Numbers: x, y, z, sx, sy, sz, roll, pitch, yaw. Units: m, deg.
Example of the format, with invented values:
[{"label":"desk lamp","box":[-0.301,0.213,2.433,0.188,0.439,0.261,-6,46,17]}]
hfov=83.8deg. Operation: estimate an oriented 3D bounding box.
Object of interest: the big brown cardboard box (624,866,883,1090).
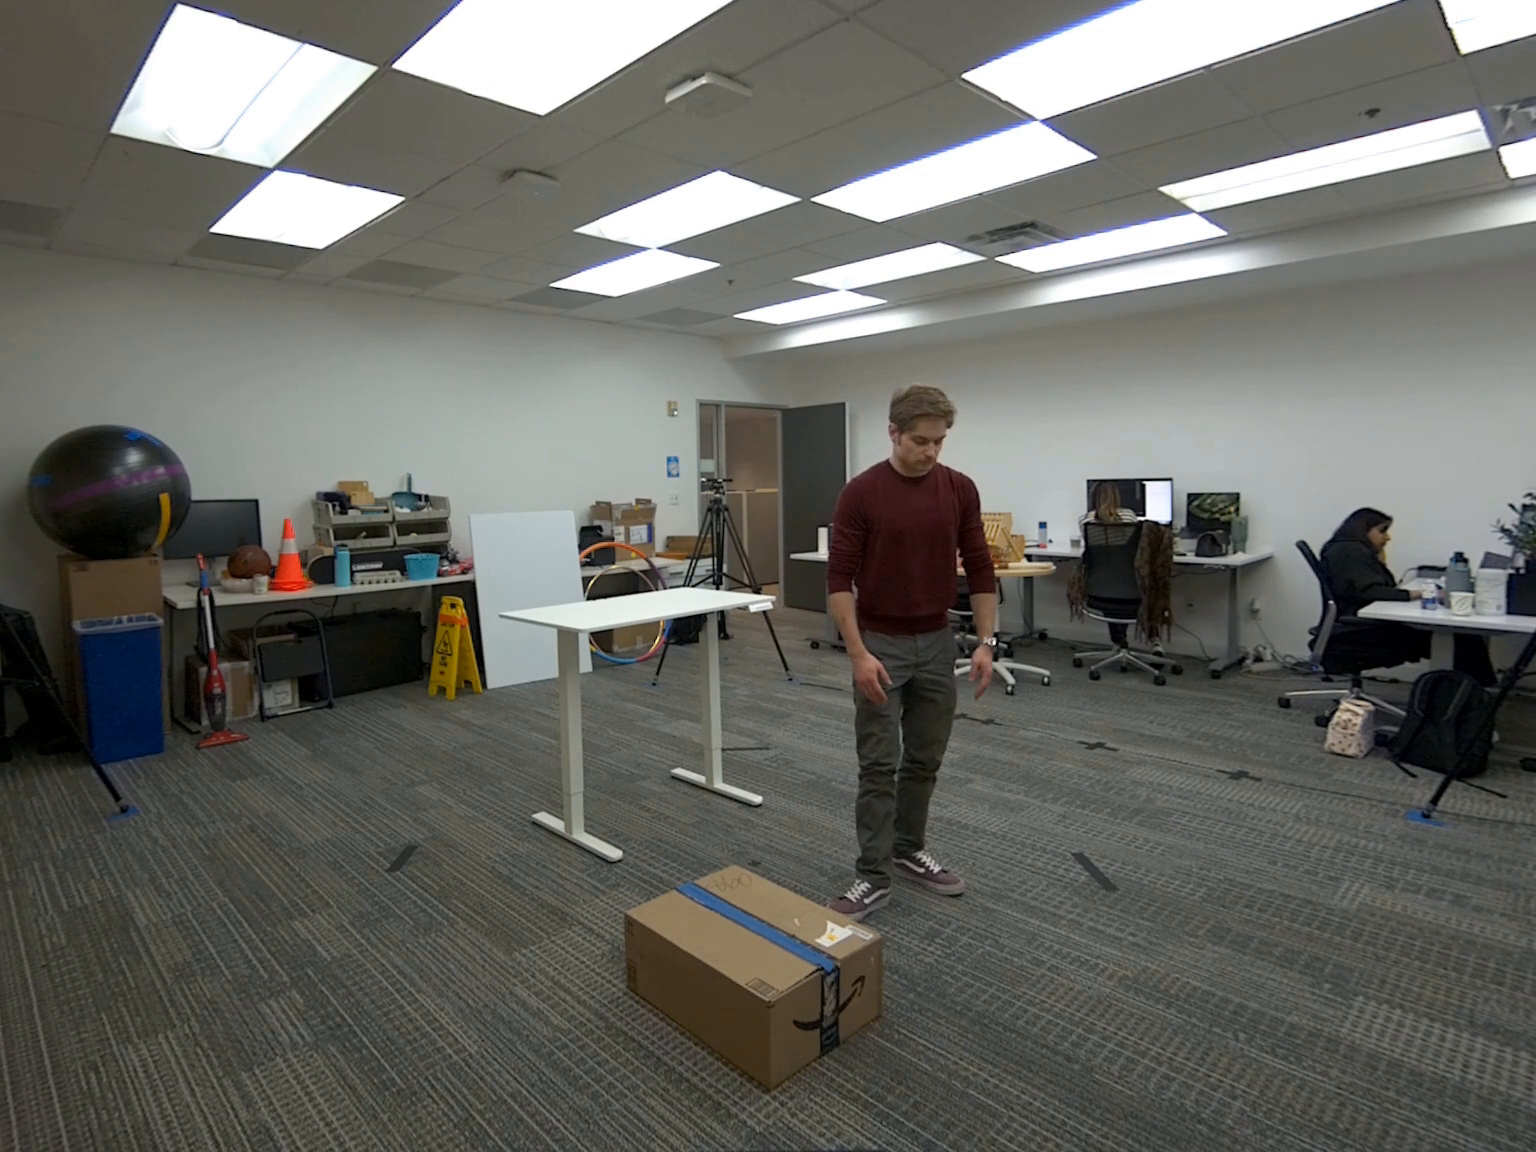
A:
[{"label":"big brown cardboard box","box":[-0.040,1.034,2.279,0.407,0.232,0.607,-7,8,-44]}]
